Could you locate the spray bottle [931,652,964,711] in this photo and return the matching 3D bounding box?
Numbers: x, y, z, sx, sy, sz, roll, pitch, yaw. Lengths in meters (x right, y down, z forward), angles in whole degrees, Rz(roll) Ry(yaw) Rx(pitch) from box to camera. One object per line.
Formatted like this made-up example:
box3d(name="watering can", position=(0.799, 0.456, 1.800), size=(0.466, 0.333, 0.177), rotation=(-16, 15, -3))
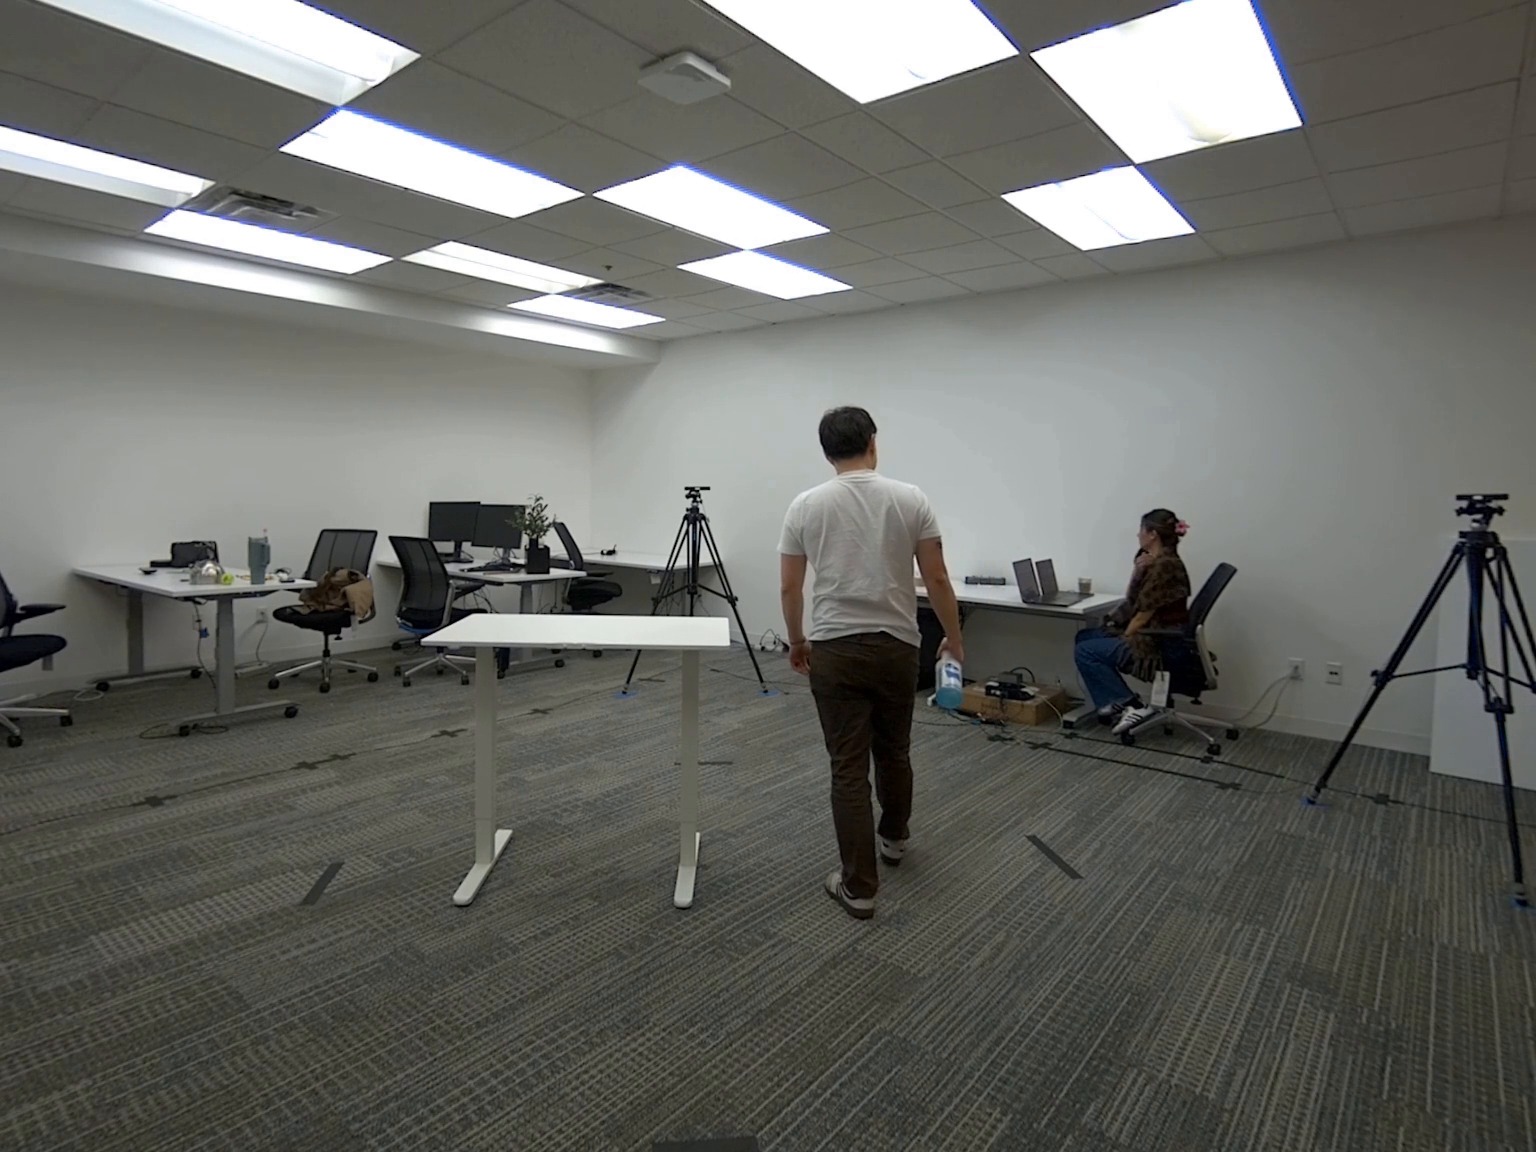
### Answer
box3d(name="spray bottle", position=(0.611, 0.325, 2.903), size=(0.087, 0.088, 0.302), rotation=(-40, 20, 30))
